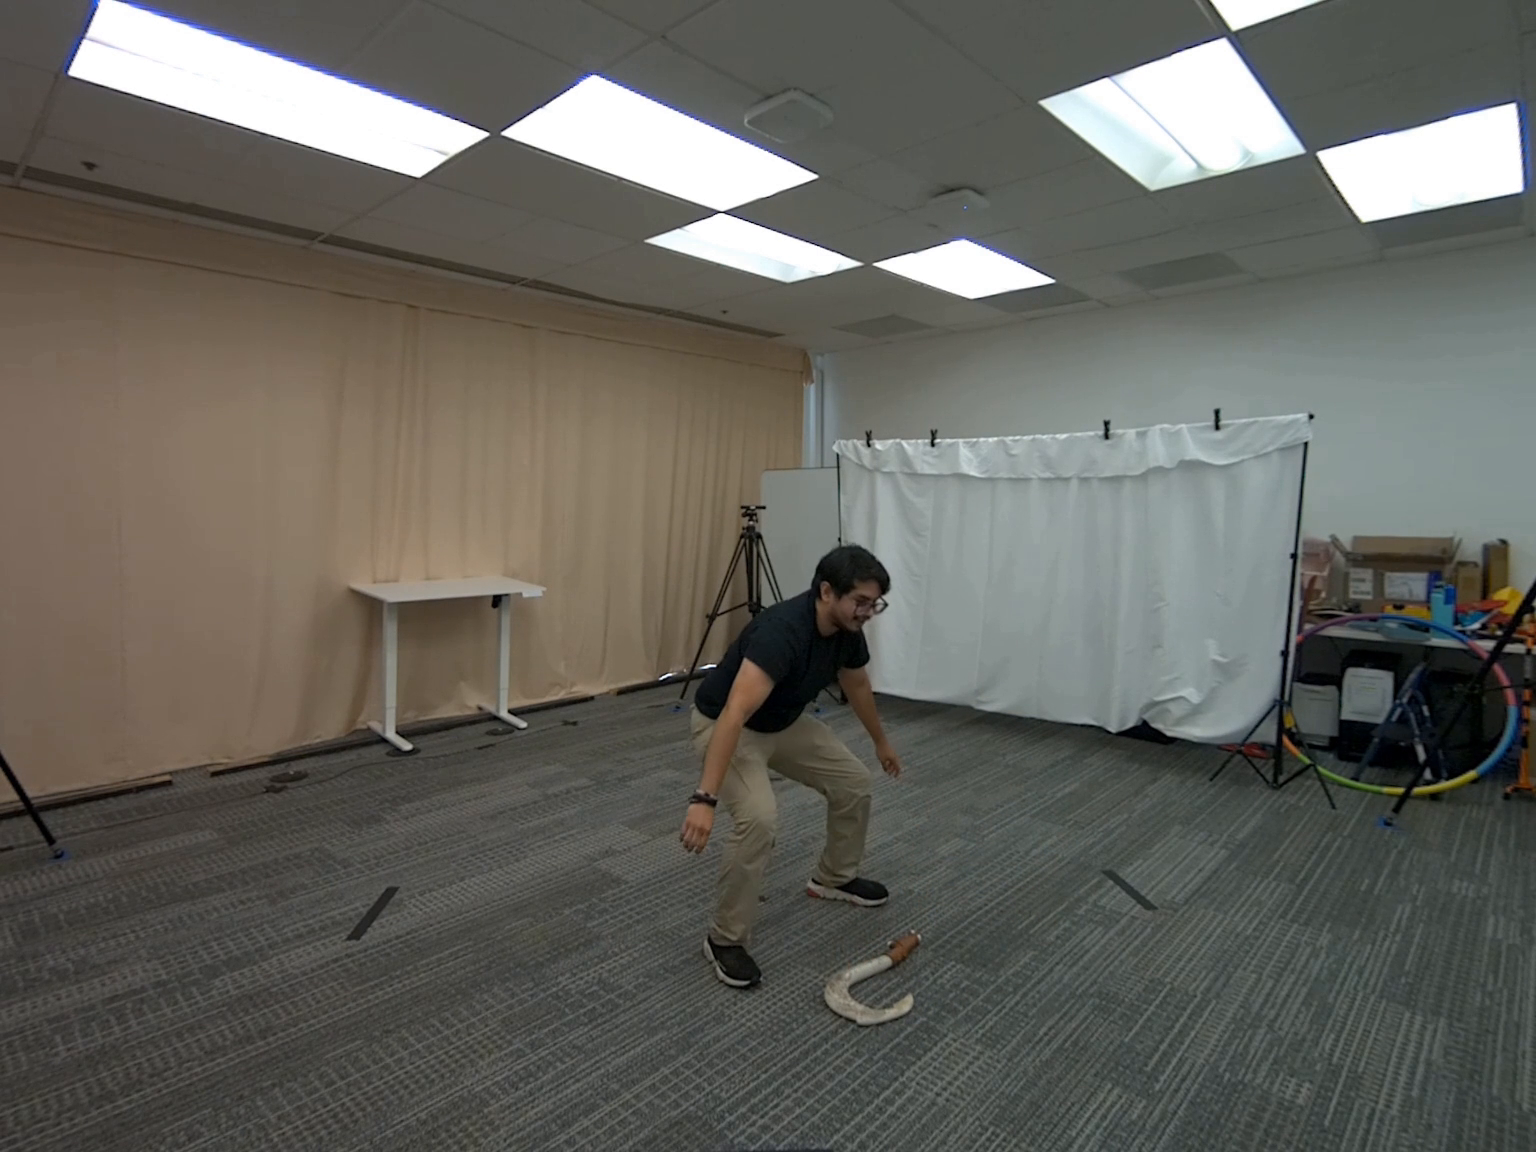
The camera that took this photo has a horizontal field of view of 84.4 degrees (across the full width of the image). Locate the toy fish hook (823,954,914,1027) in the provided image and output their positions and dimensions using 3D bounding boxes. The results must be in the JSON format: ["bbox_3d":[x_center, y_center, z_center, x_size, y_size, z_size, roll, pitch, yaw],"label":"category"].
[{"bbox_3d":[0.367,1.175,2.458,0.232,0.048,0.491,13,12,39],"label":"toy fish hook"}]
